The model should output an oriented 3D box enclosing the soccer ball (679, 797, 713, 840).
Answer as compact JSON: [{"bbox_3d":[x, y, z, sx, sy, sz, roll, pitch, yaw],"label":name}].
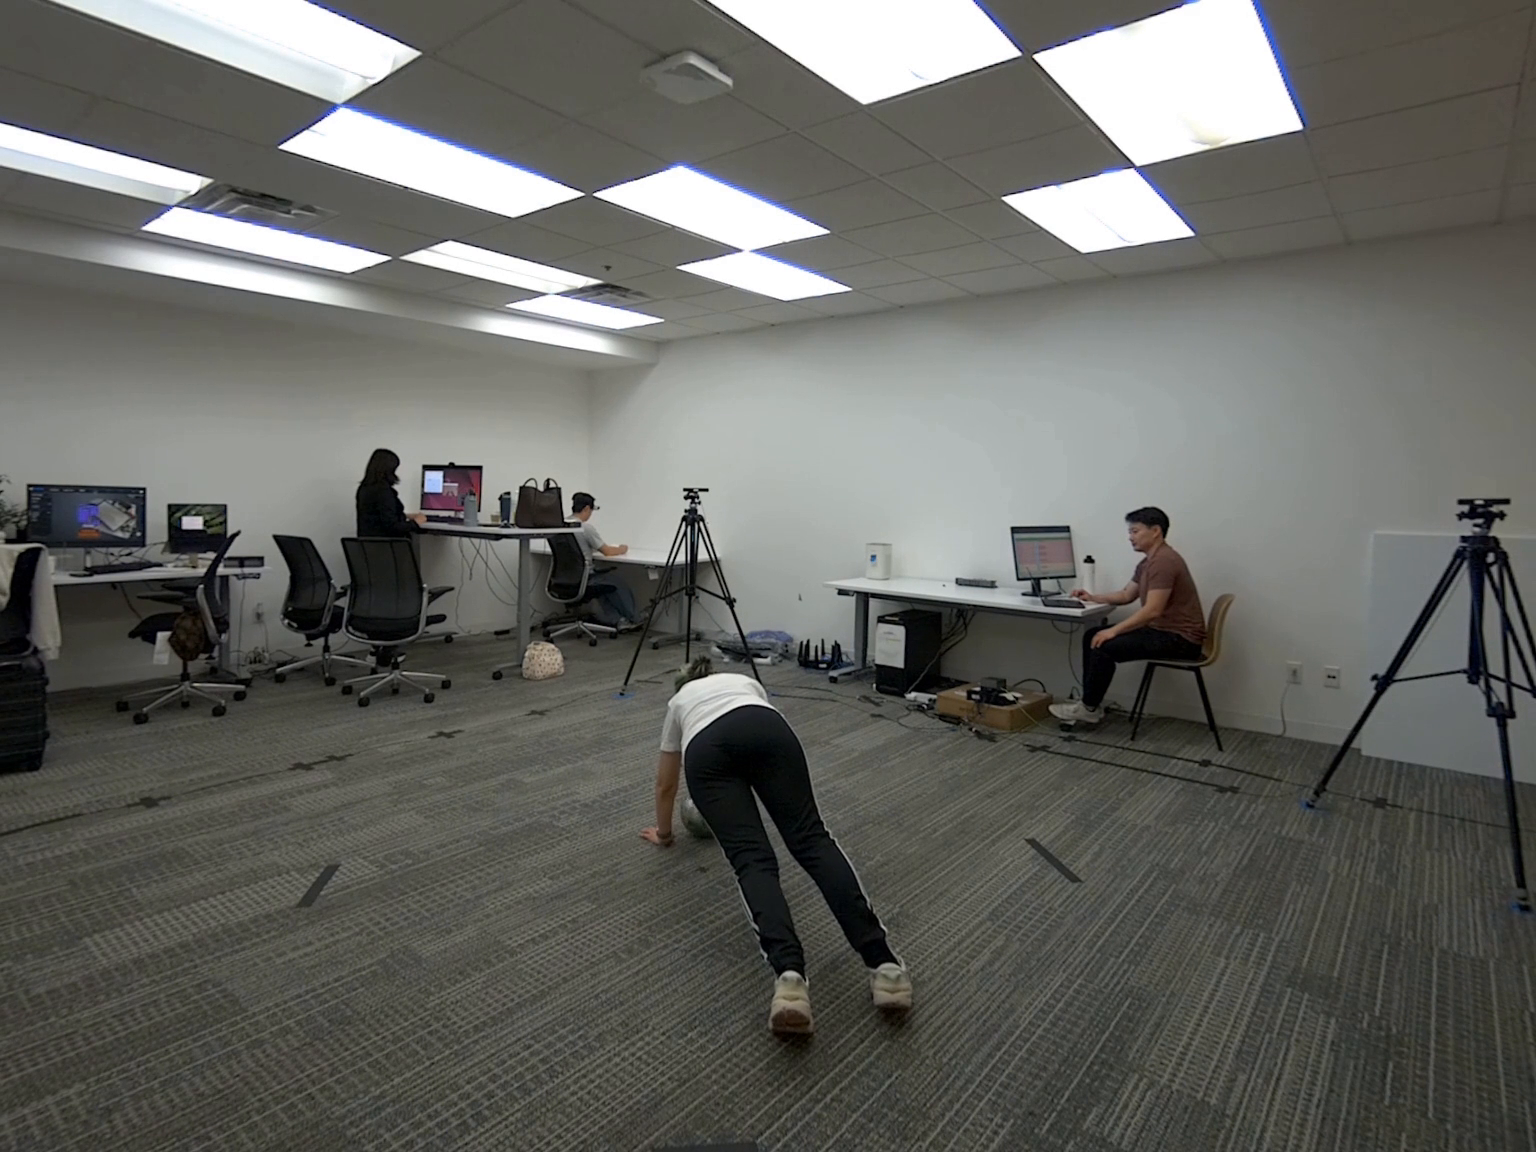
[{"bbox_3d":[-0.265,0.946,3.410,0.187,0.187,0.188,1,4,-2],"label":"soccer ball"}]
